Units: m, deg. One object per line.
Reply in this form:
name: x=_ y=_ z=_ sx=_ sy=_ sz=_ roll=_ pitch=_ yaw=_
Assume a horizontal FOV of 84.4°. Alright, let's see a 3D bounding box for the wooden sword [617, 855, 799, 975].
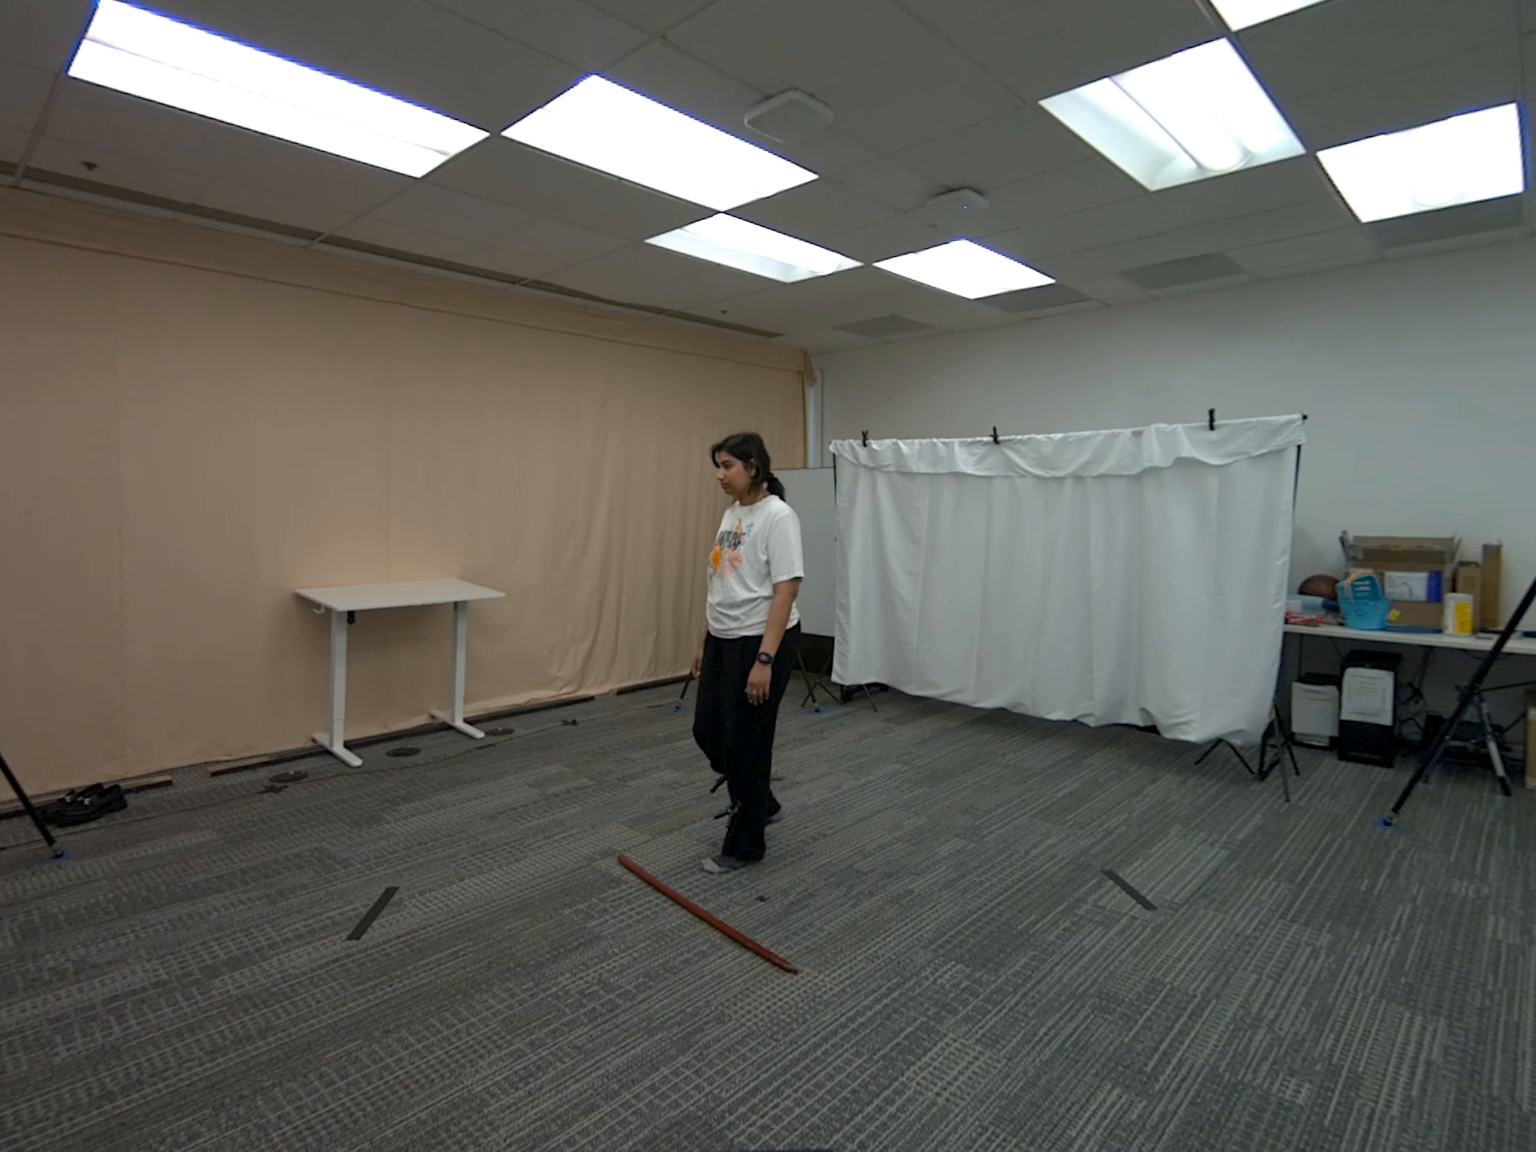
wooden sword: x=-0.251 y=1.130 z=2.910 sx=0.049 sy=0.024 sz=1.058 roll=31 pitch=-16 yaw=-36
